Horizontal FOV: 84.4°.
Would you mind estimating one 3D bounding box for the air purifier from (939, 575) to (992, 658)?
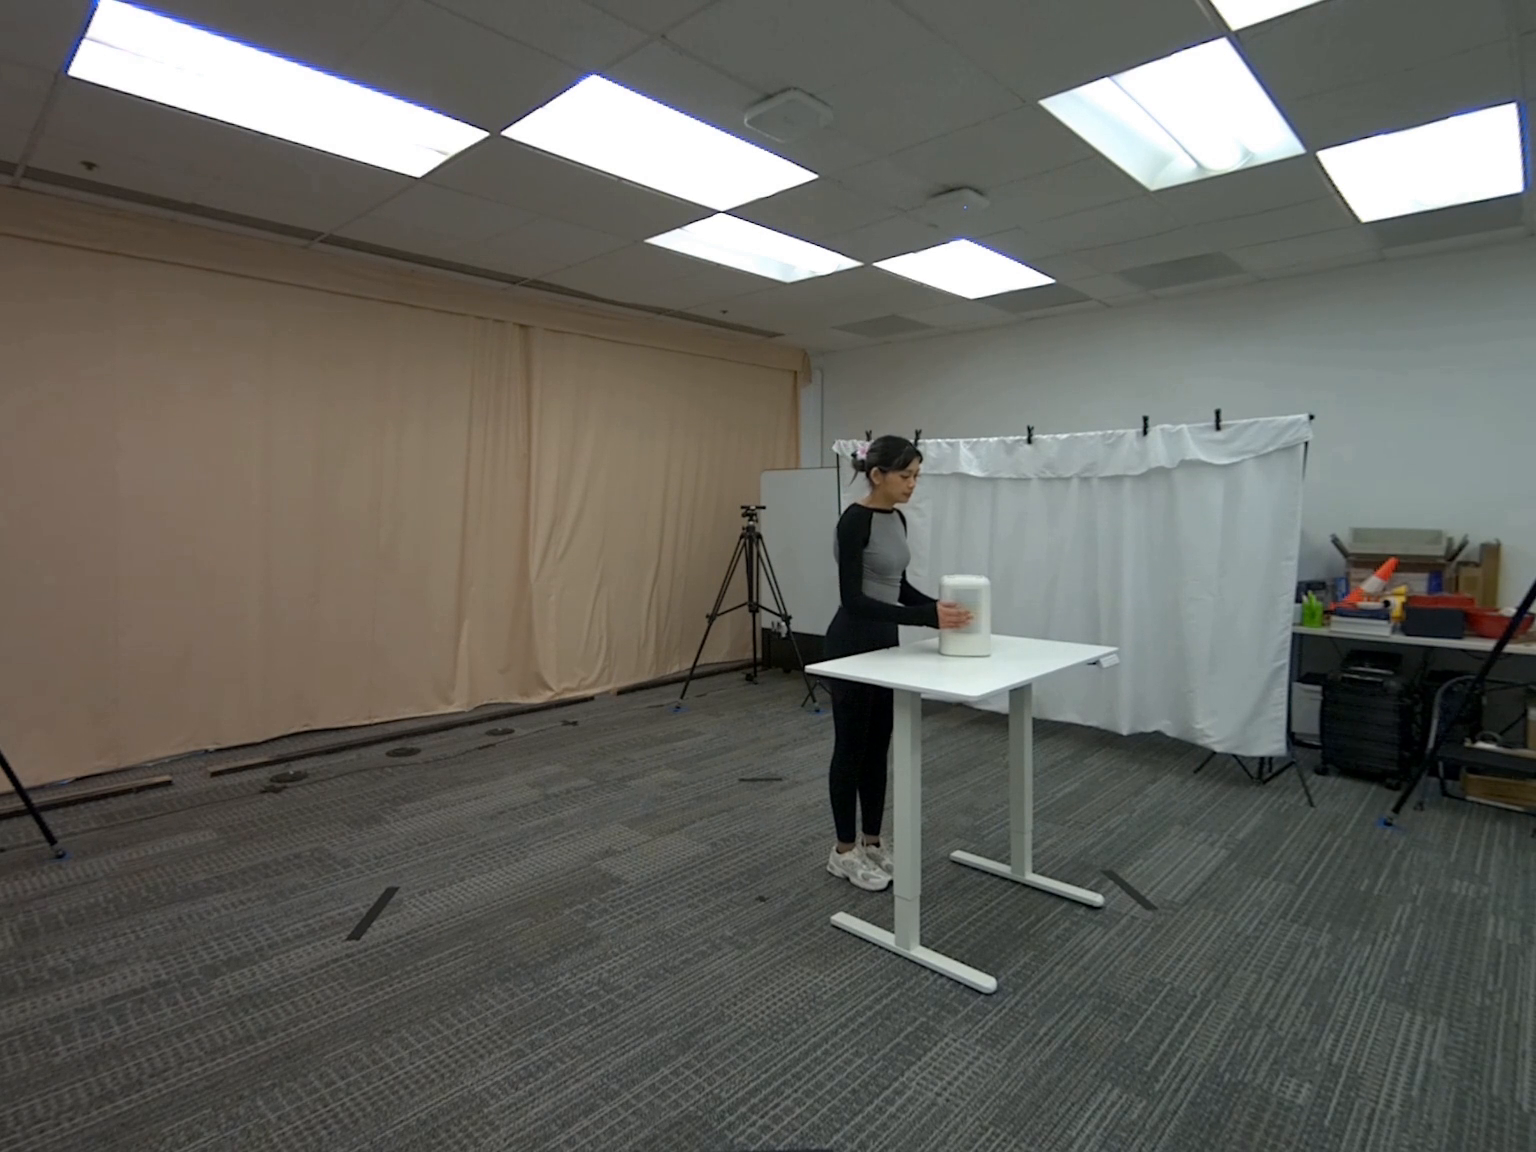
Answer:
[{"bbox_3d":[0.690,0.132,2.901,0.173,0.265,0.169,-2,3,10],"label":"air purifier"}]
